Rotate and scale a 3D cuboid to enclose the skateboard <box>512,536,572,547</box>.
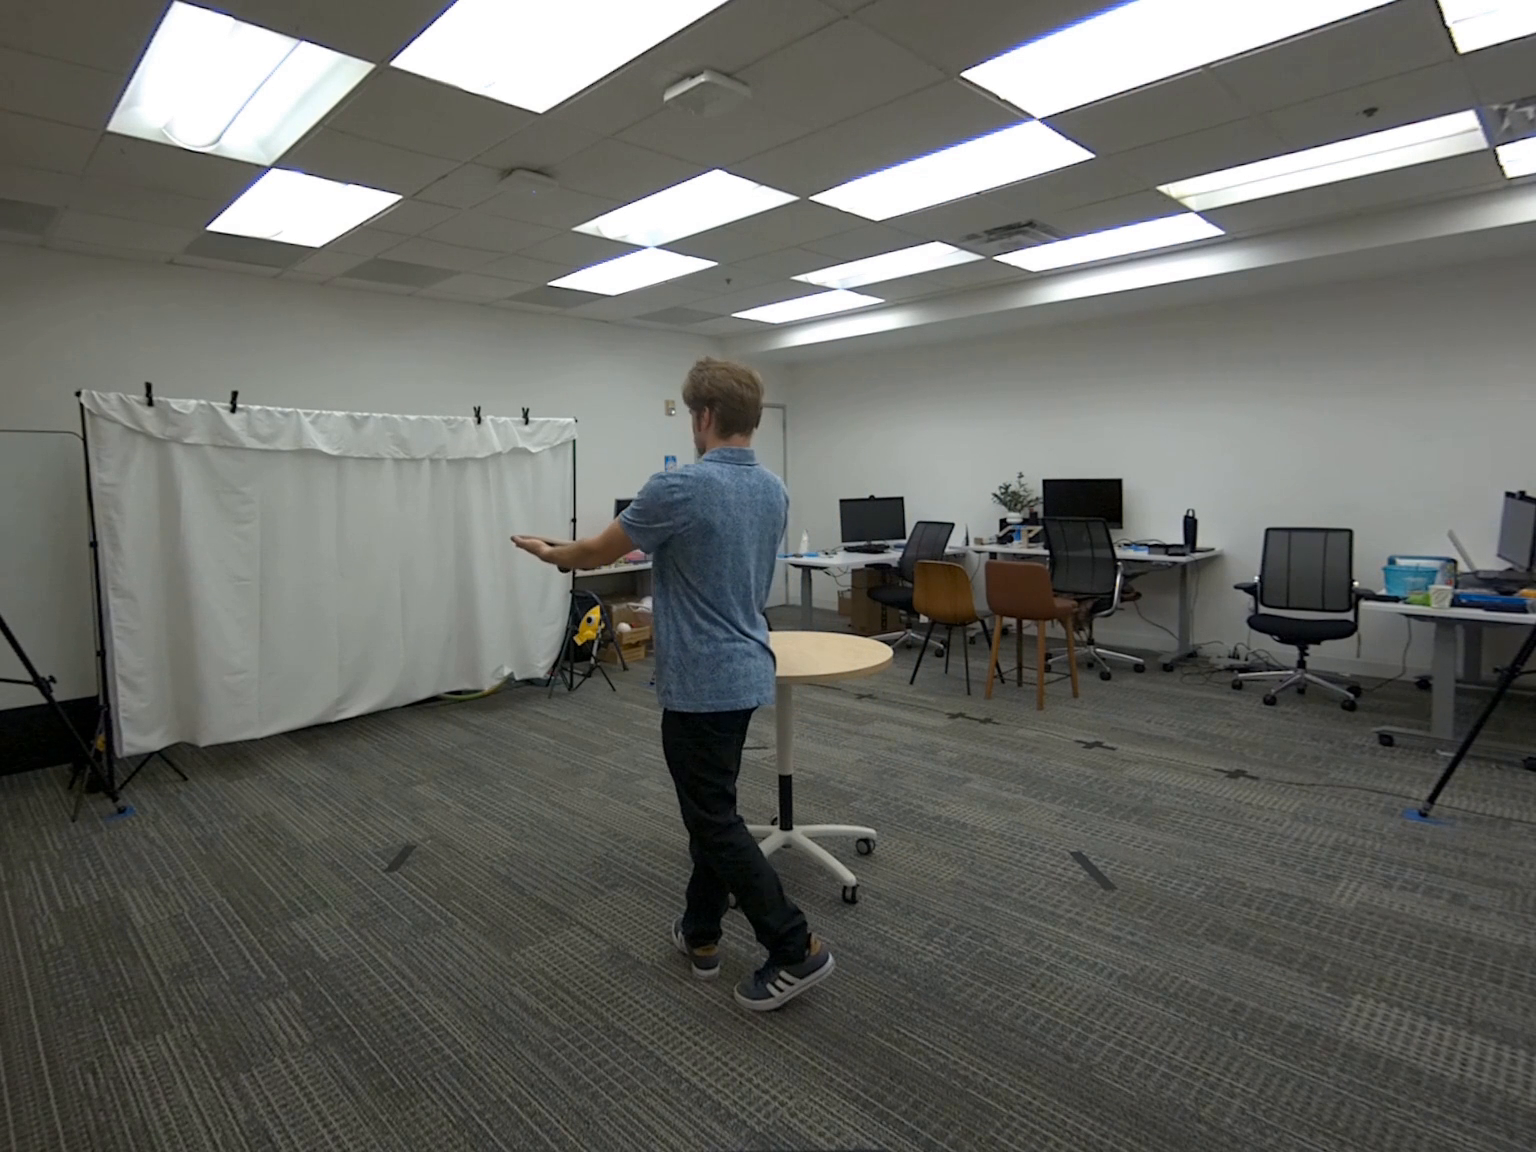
[{"bbox_3d":[-0.452,-0.063,2.782,0.763,0.110,0.198,-1,-2,-38],"label":"skateboard"}]
